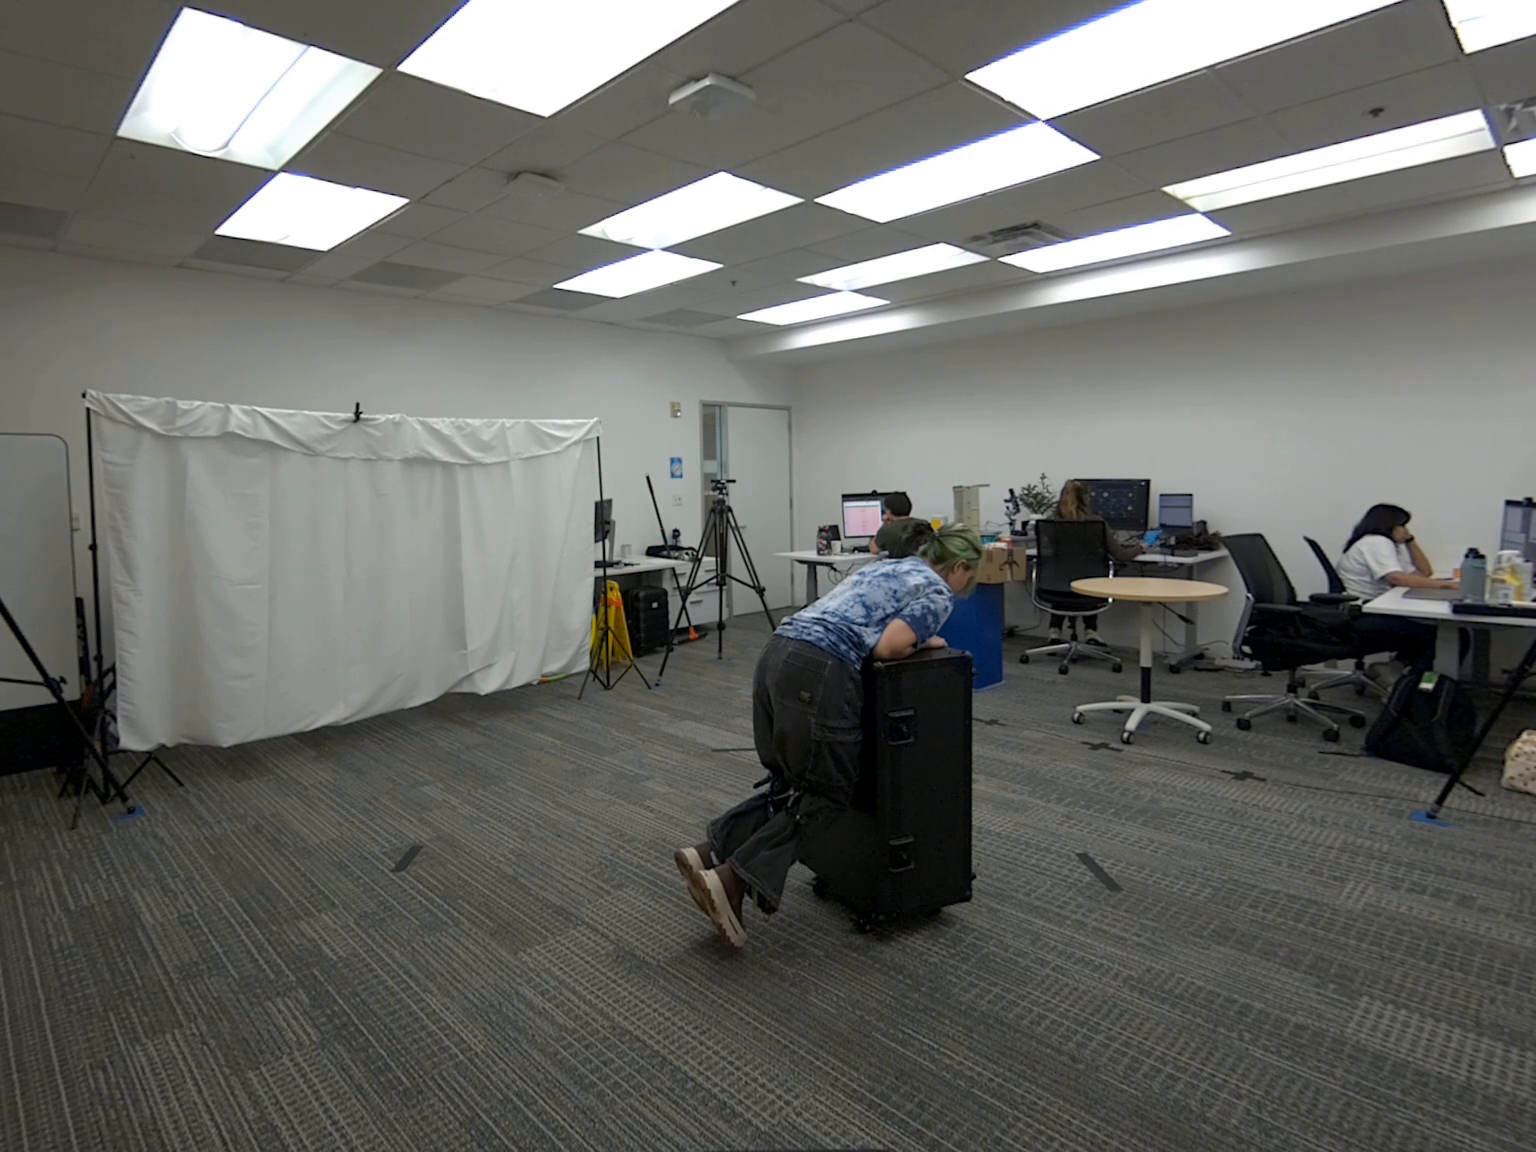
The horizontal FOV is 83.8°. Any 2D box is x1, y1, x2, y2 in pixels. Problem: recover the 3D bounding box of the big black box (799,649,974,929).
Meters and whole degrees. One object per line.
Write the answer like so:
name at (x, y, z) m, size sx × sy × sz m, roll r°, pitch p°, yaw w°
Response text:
big black box at (0.384, 0.599, 2.797) m, size 0.388 × 0.858 × 0.534 m, roll -2°, pitch 5°, yaw -26°
